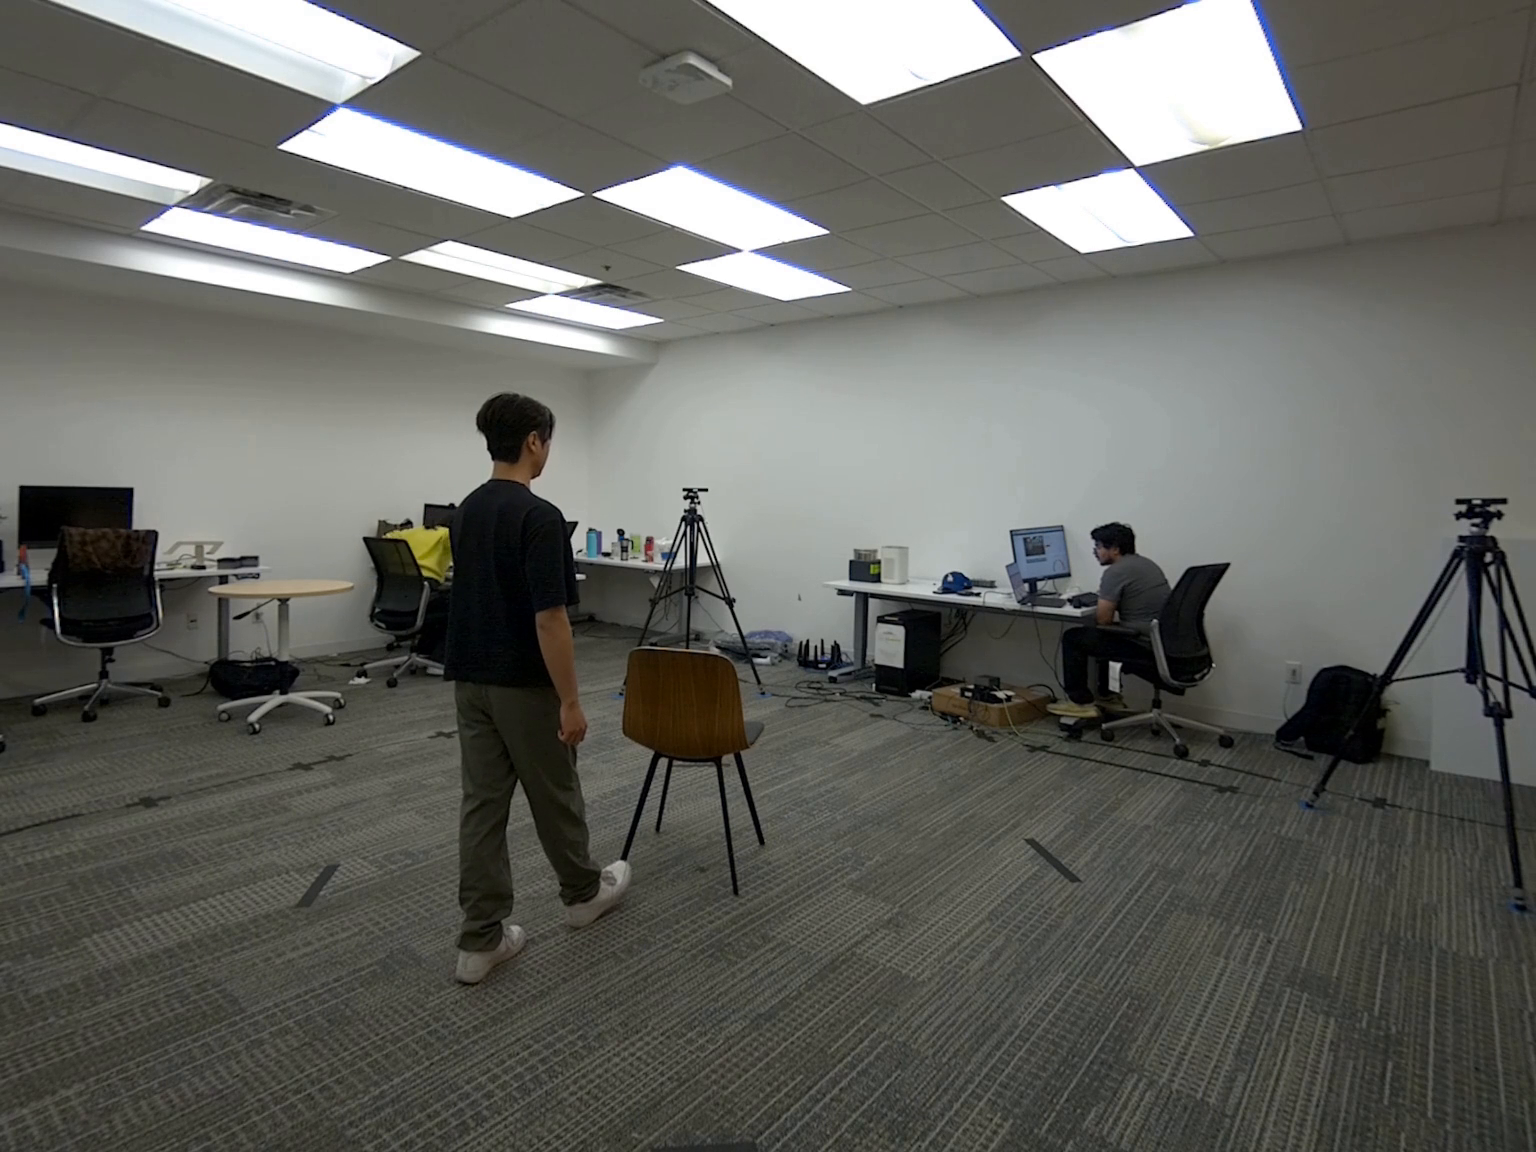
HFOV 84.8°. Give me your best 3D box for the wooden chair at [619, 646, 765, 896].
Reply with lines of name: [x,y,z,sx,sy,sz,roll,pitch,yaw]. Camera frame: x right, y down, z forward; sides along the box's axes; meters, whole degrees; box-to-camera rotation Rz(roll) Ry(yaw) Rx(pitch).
wooden chair: [-0.280,0.634,3.161,0.486,0.871,0.518,2,7,14]
